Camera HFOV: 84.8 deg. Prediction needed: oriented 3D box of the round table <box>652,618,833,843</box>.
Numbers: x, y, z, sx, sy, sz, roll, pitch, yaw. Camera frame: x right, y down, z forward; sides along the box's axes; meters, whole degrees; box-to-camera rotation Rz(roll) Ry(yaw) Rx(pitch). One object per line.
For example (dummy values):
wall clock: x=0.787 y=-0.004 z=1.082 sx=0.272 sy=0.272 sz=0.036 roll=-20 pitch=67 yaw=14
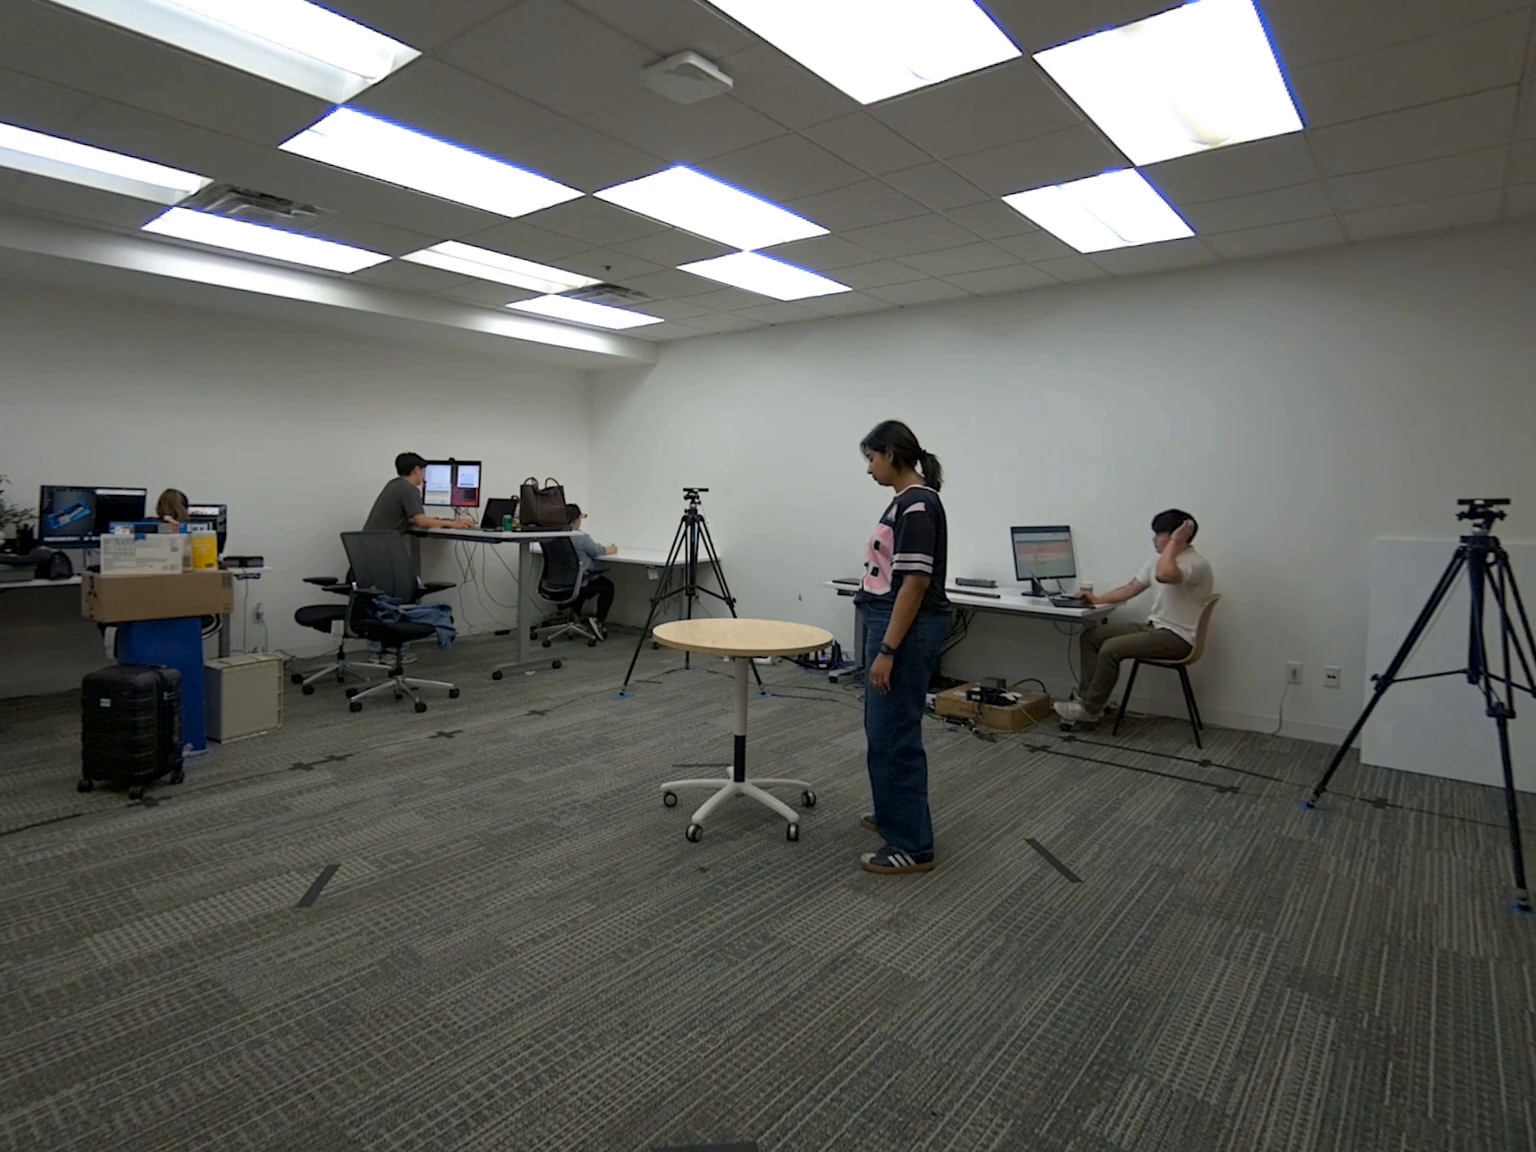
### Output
round table: x=-0.132 y=0.632 z=3.650 sx=0.763 sy=0.791 sz=0.768 roll=1 pitch=4 yaw=-2
